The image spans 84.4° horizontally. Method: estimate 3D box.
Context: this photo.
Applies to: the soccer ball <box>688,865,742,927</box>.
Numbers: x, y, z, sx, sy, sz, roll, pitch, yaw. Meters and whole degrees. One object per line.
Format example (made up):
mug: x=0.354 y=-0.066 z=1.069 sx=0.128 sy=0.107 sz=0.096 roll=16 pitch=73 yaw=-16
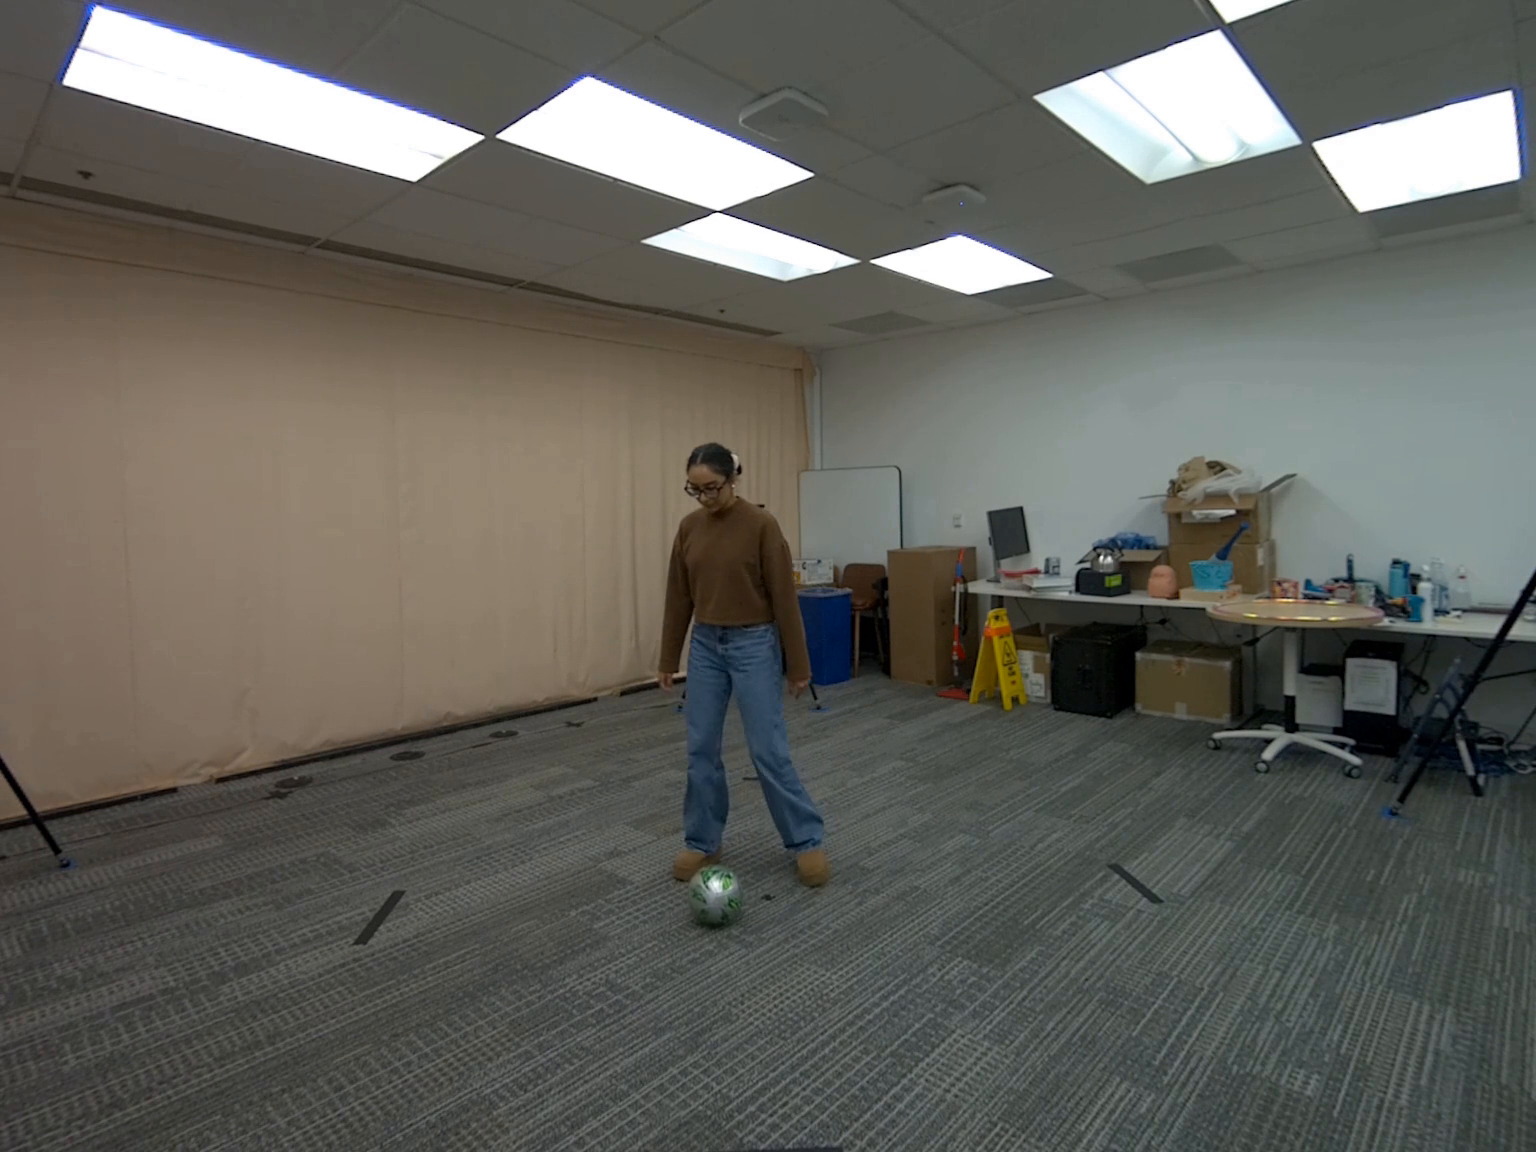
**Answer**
soccer ball: x=-0.174 y=1.058 z=2.803 sx=0.187 sy=0.187 sz=0.188 roll=-1 pitch=4 yaw=-2
